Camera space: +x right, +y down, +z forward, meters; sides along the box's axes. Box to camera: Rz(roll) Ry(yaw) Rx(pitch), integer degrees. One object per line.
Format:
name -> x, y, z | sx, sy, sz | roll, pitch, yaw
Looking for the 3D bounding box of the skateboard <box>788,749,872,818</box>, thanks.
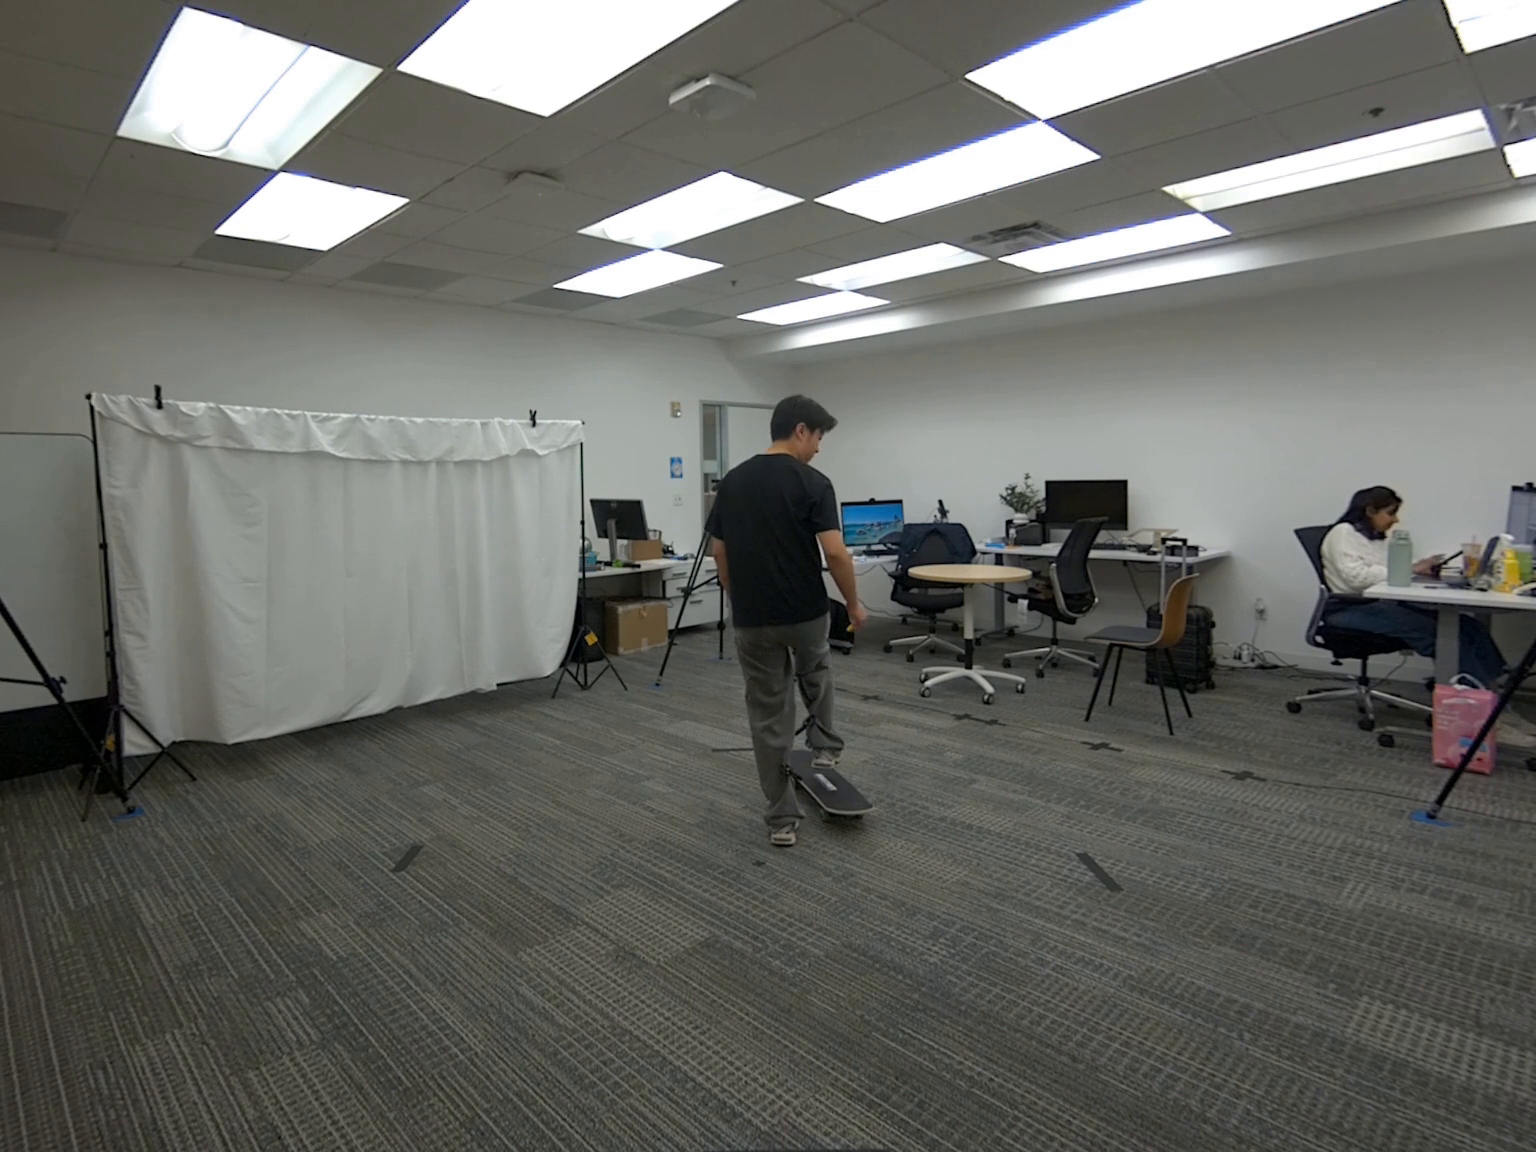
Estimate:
skateboard -> 0.251, 0.921, 3.695 | 0.191, 0.110, 0.800 | -3, 6, -16
